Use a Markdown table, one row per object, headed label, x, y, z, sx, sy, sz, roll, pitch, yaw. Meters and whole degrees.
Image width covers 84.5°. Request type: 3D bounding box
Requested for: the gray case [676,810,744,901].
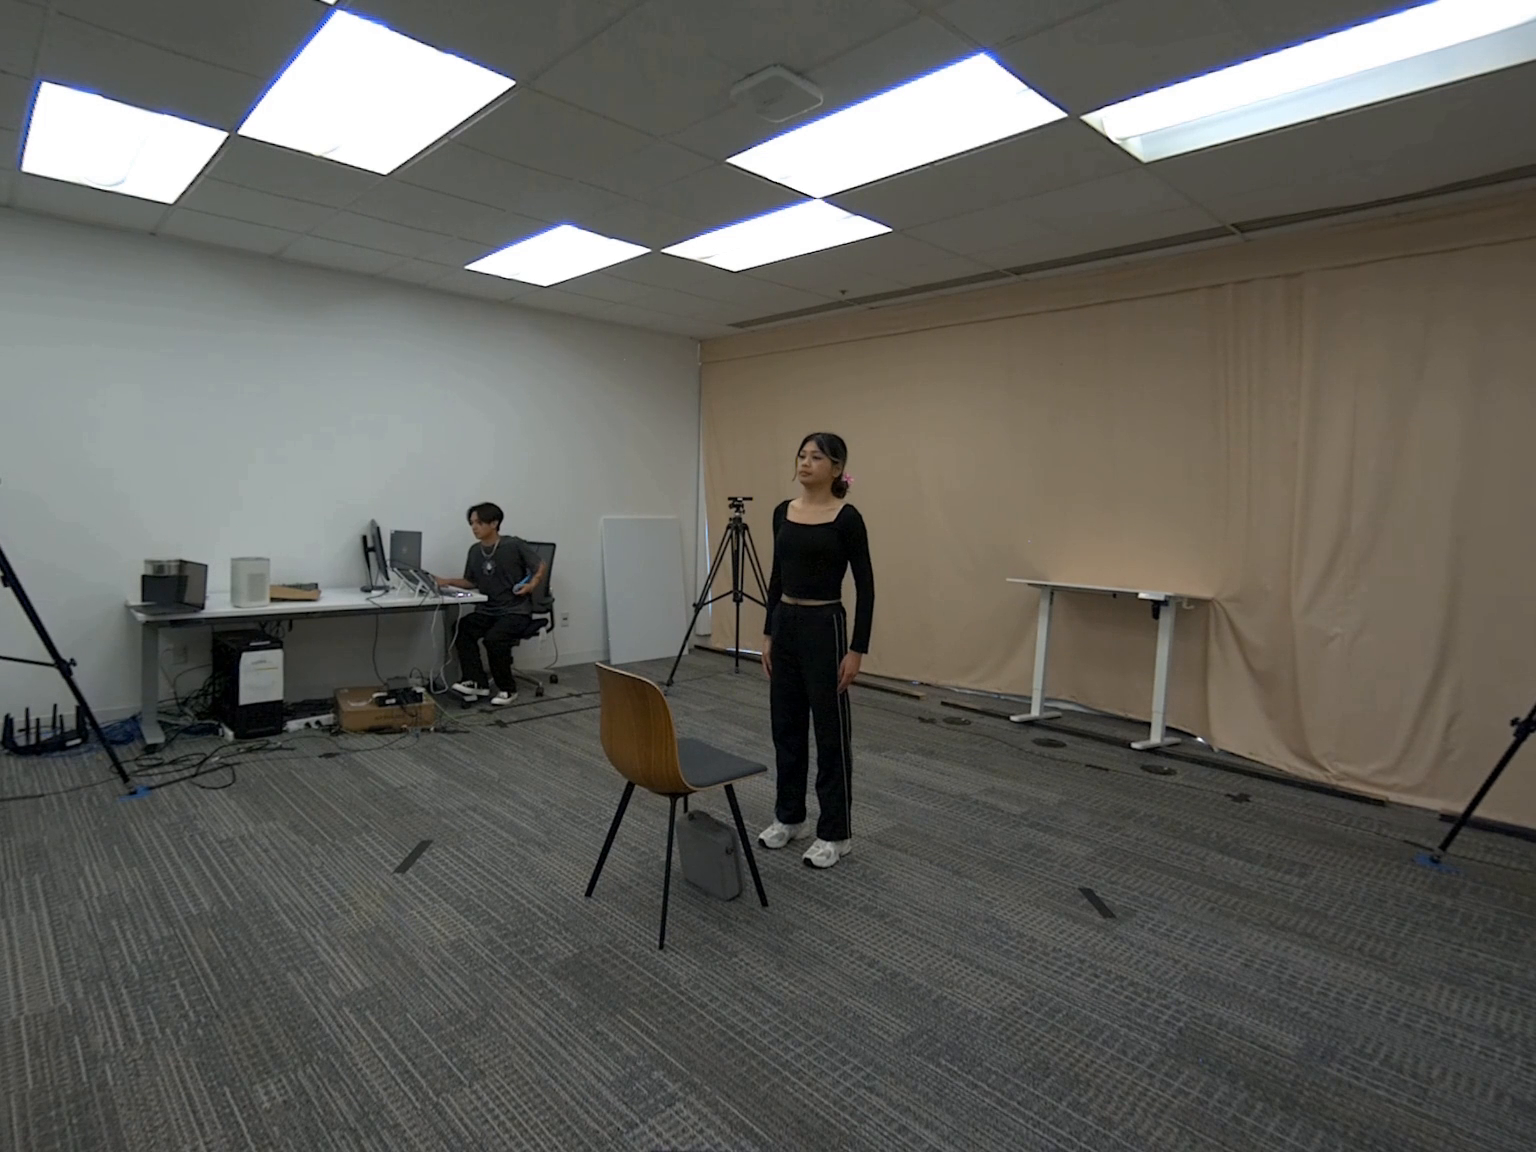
| label | x | y | z | sx | sy | sz | roll | pitch | yaw |
| --- | --- | --- | --- | --- | --- | --- | --- | --- | --- |
| gray case | -0.215 | 0.978 | 2.990 | 0.103 | 0.258 | 0.263 | -19 | 16 | -41 |
